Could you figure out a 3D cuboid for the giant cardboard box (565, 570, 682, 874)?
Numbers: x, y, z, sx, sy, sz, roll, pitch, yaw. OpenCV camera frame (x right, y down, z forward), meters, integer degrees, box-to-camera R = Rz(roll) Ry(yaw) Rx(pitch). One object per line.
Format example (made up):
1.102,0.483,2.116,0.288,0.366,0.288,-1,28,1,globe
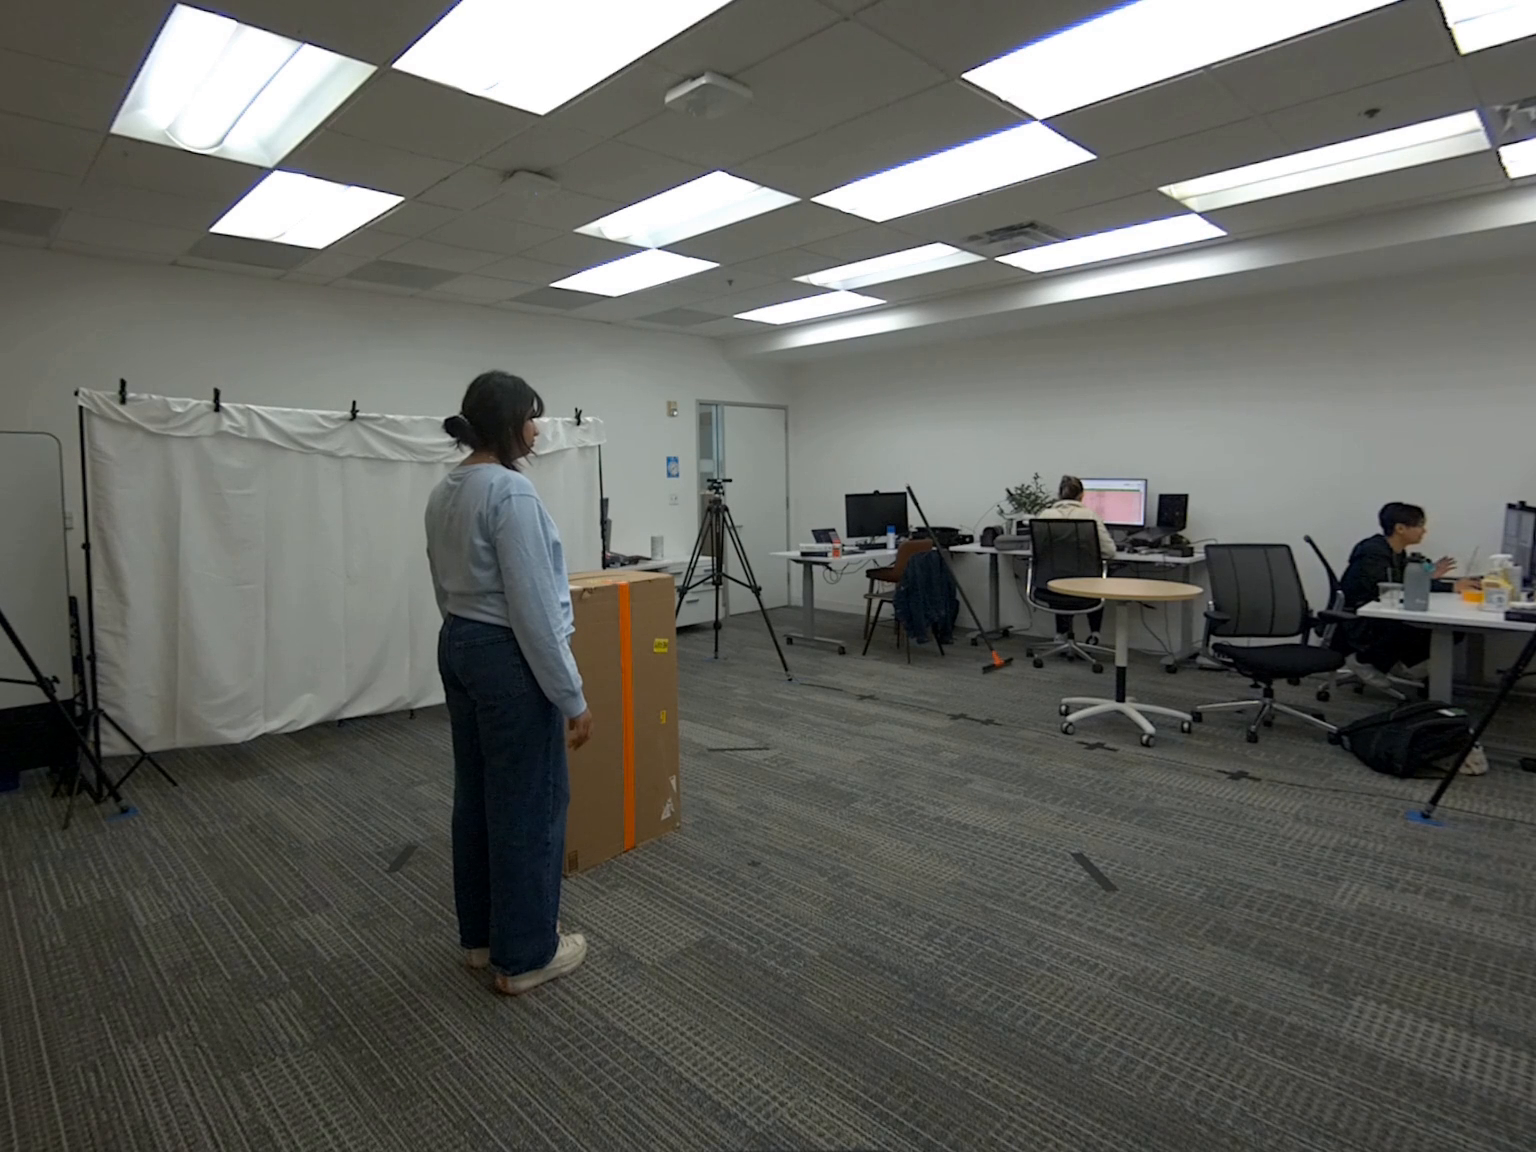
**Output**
-0.697,0.520,3.346,0.460,1.023,0.568,3,5,41,giant cardboard box
